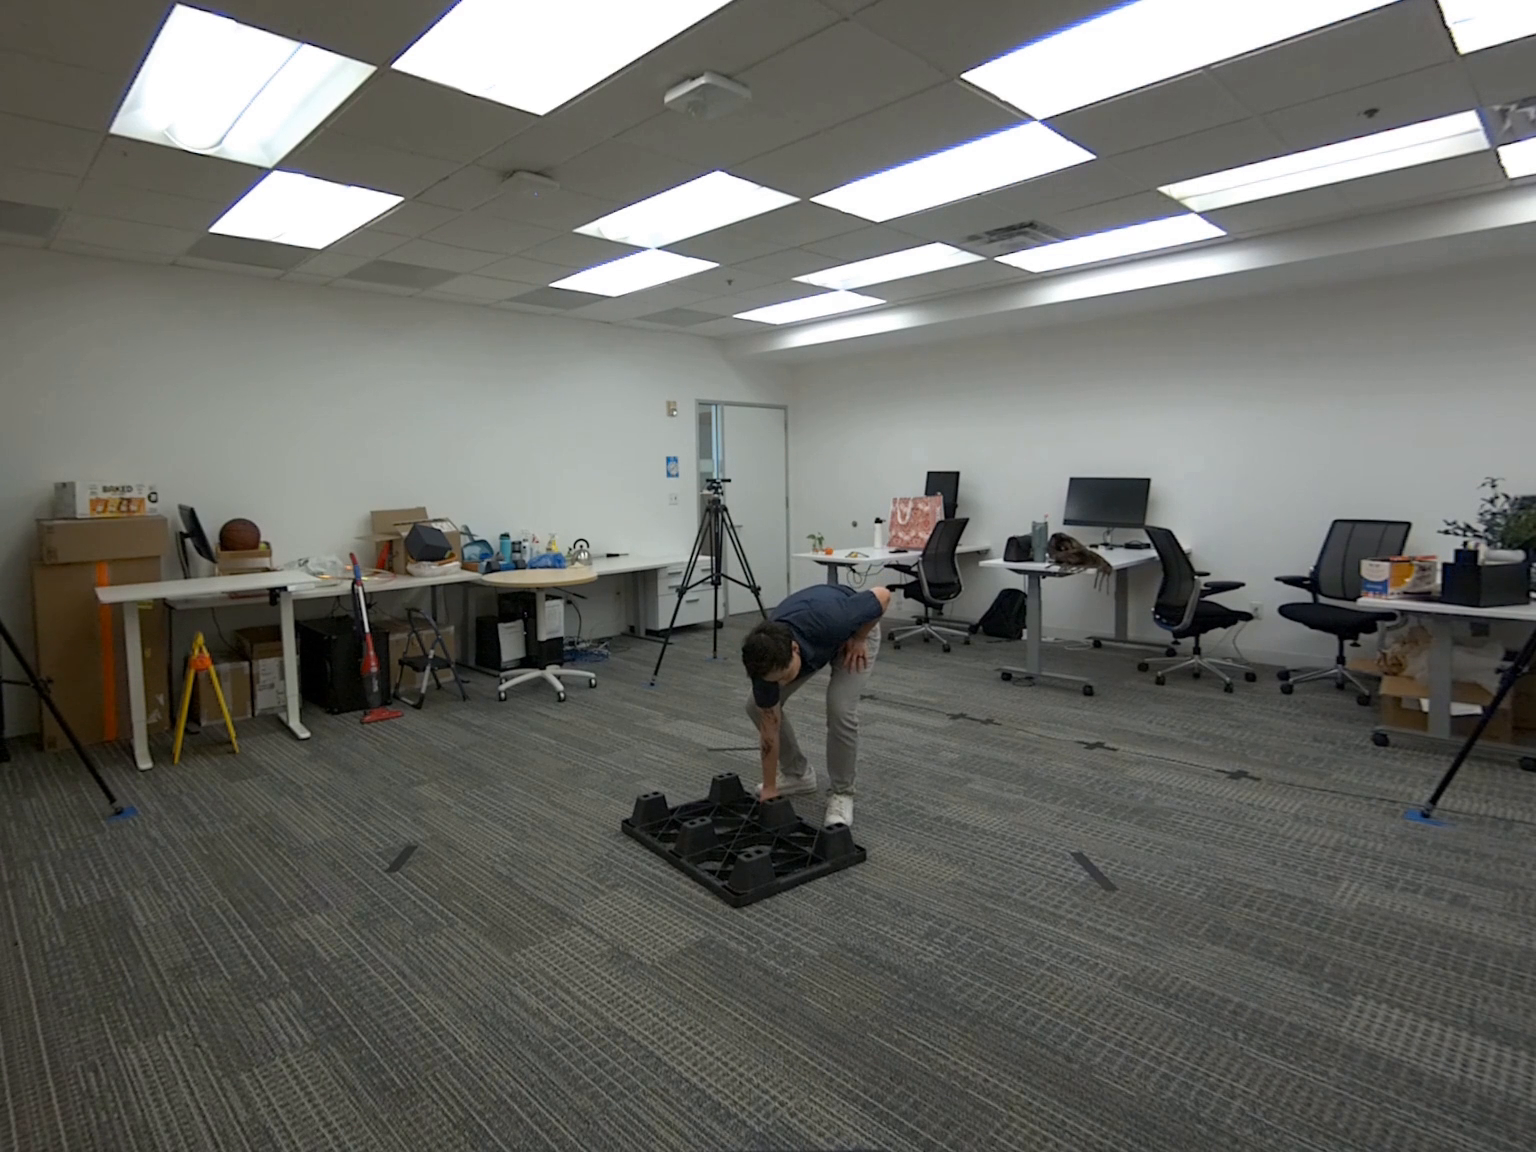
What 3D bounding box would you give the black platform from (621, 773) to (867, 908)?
[{"bbox_3d":[-0.107,0.962,3.263,0.590,0.142,0.830,-6,9,-37],"label":"black platform"}]
